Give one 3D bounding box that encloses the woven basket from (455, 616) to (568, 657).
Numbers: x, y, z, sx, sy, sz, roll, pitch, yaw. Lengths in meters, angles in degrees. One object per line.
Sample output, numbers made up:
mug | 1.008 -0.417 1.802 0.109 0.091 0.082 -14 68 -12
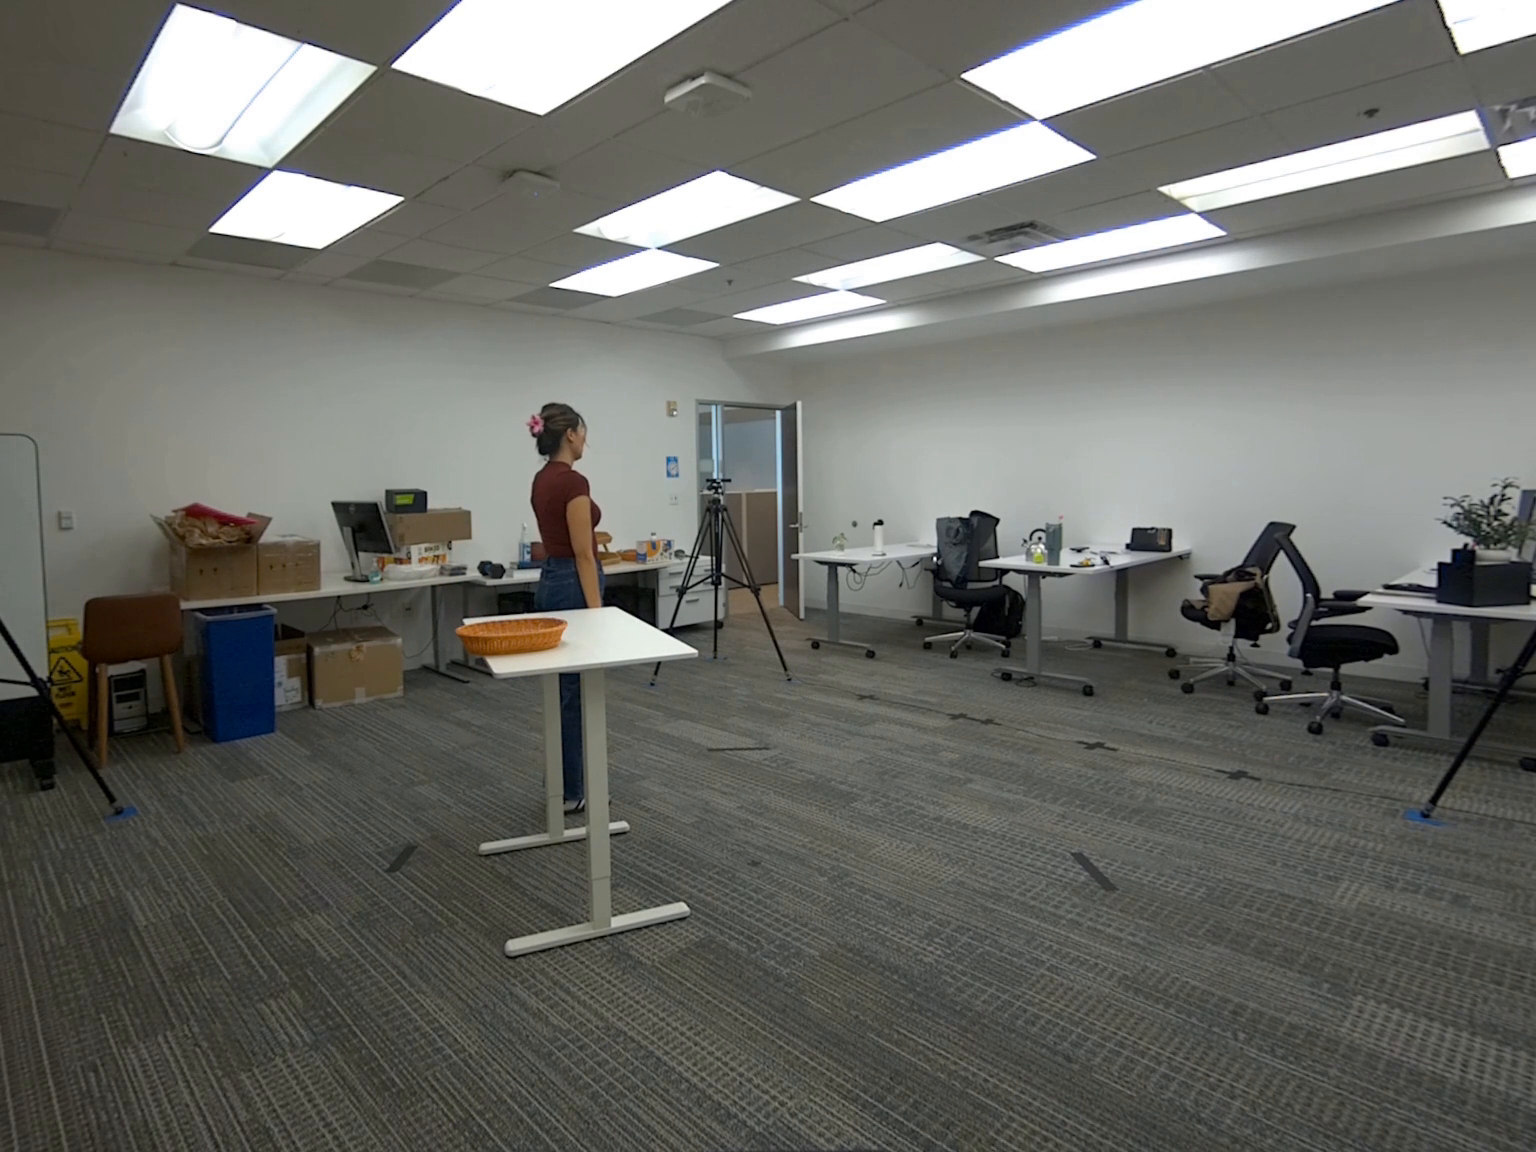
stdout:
woven basket | -0.808 0.200 2.675 0.344 0.073 0.258 -4 8 -21
